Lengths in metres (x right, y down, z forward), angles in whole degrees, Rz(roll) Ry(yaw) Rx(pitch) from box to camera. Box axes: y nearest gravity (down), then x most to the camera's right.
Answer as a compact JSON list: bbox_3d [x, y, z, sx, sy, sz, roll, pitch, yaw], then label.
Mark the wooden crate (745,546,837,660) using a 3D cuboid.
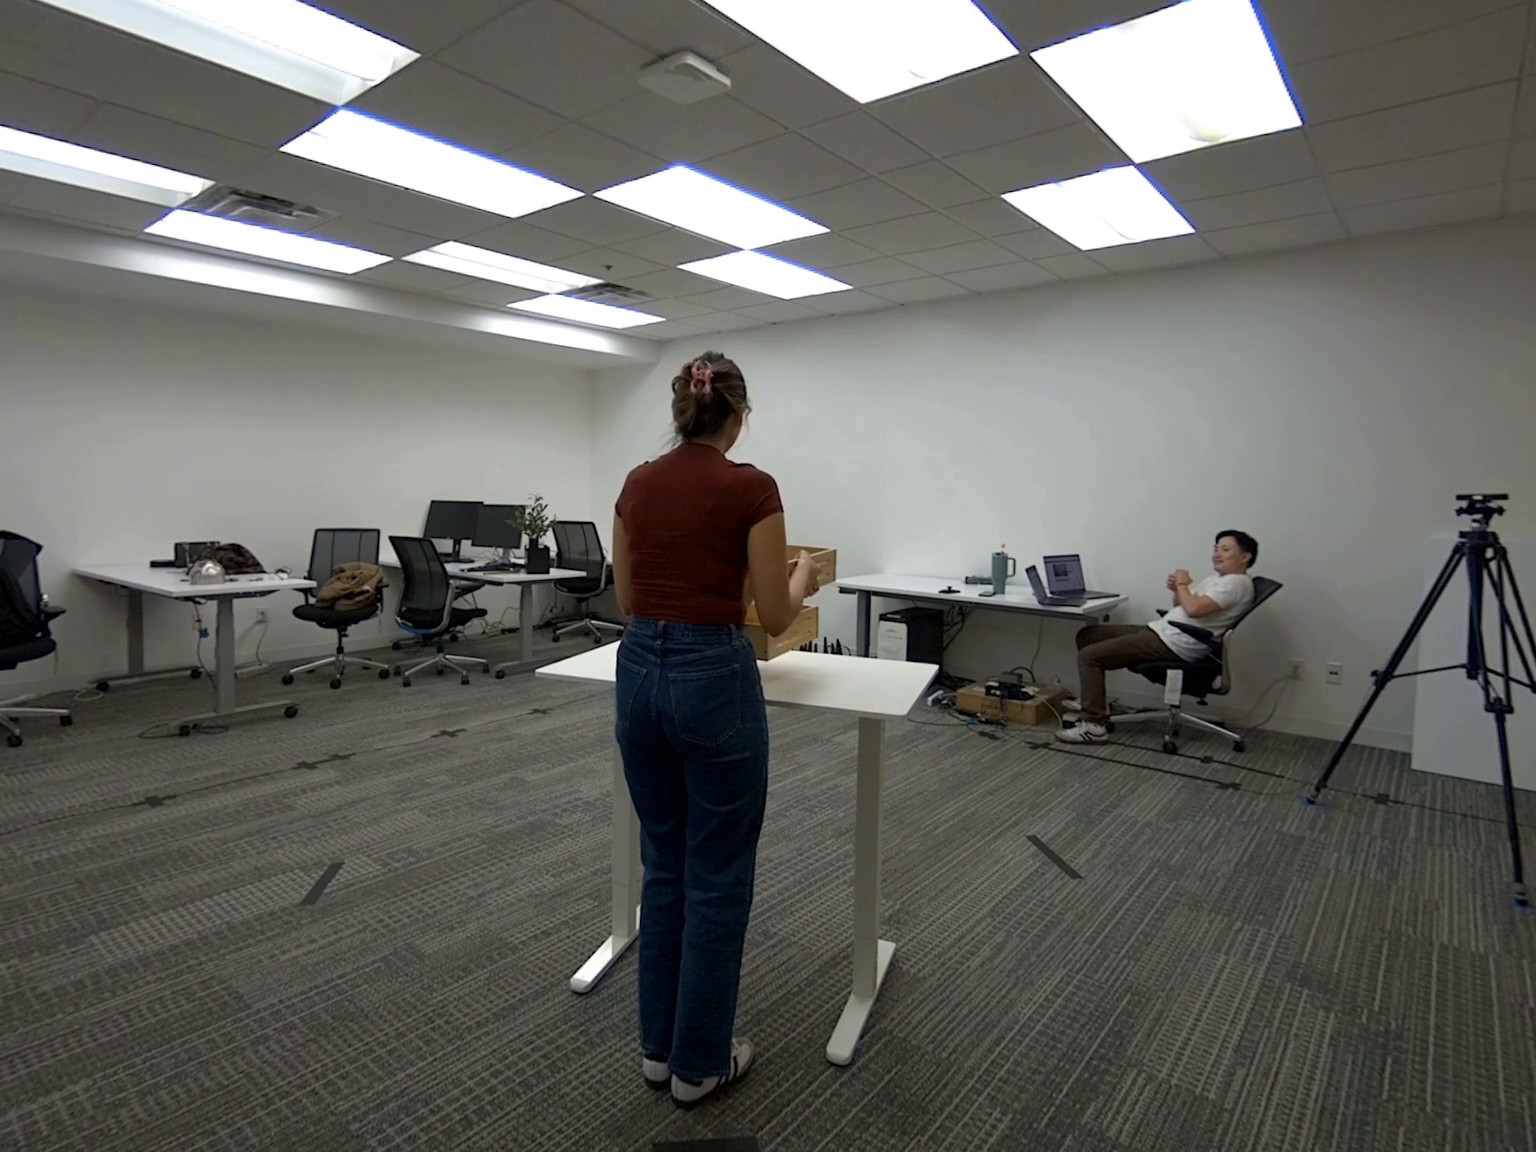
[{"bbox_3d":[-0.020,0.056,2.325,0.311,0.271,0.317,6,11,29],"label":"wooden crate"}]
